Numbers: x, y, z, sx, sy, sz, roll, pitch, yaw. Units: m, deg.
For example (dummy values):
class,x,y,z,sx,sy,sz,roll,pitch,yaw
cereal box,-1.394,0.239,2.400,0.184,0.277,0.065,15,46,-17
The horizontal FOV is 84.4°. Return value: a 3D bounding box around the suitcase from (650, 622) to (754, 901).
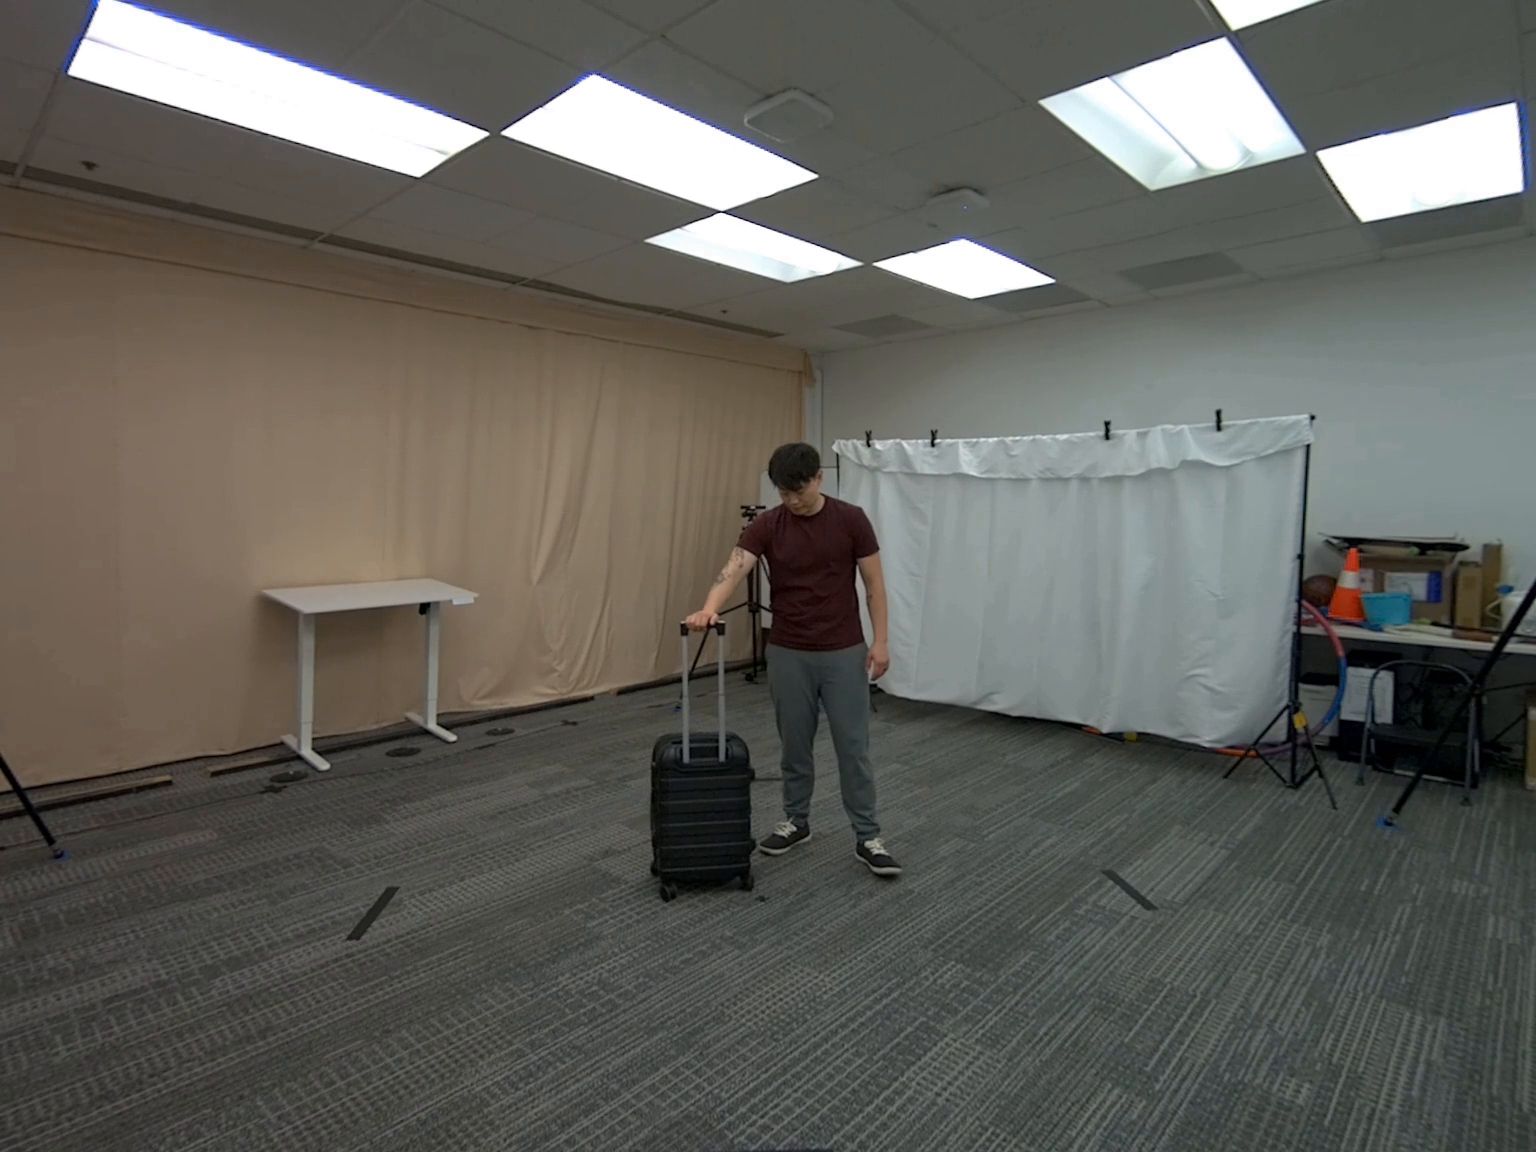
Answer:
class,x,y,z,sx,sy,sz,roll,pitch,yaw
suitcase,-0.247,0.657,3.105,0.381,0.978,0.259,-1,0,-8
